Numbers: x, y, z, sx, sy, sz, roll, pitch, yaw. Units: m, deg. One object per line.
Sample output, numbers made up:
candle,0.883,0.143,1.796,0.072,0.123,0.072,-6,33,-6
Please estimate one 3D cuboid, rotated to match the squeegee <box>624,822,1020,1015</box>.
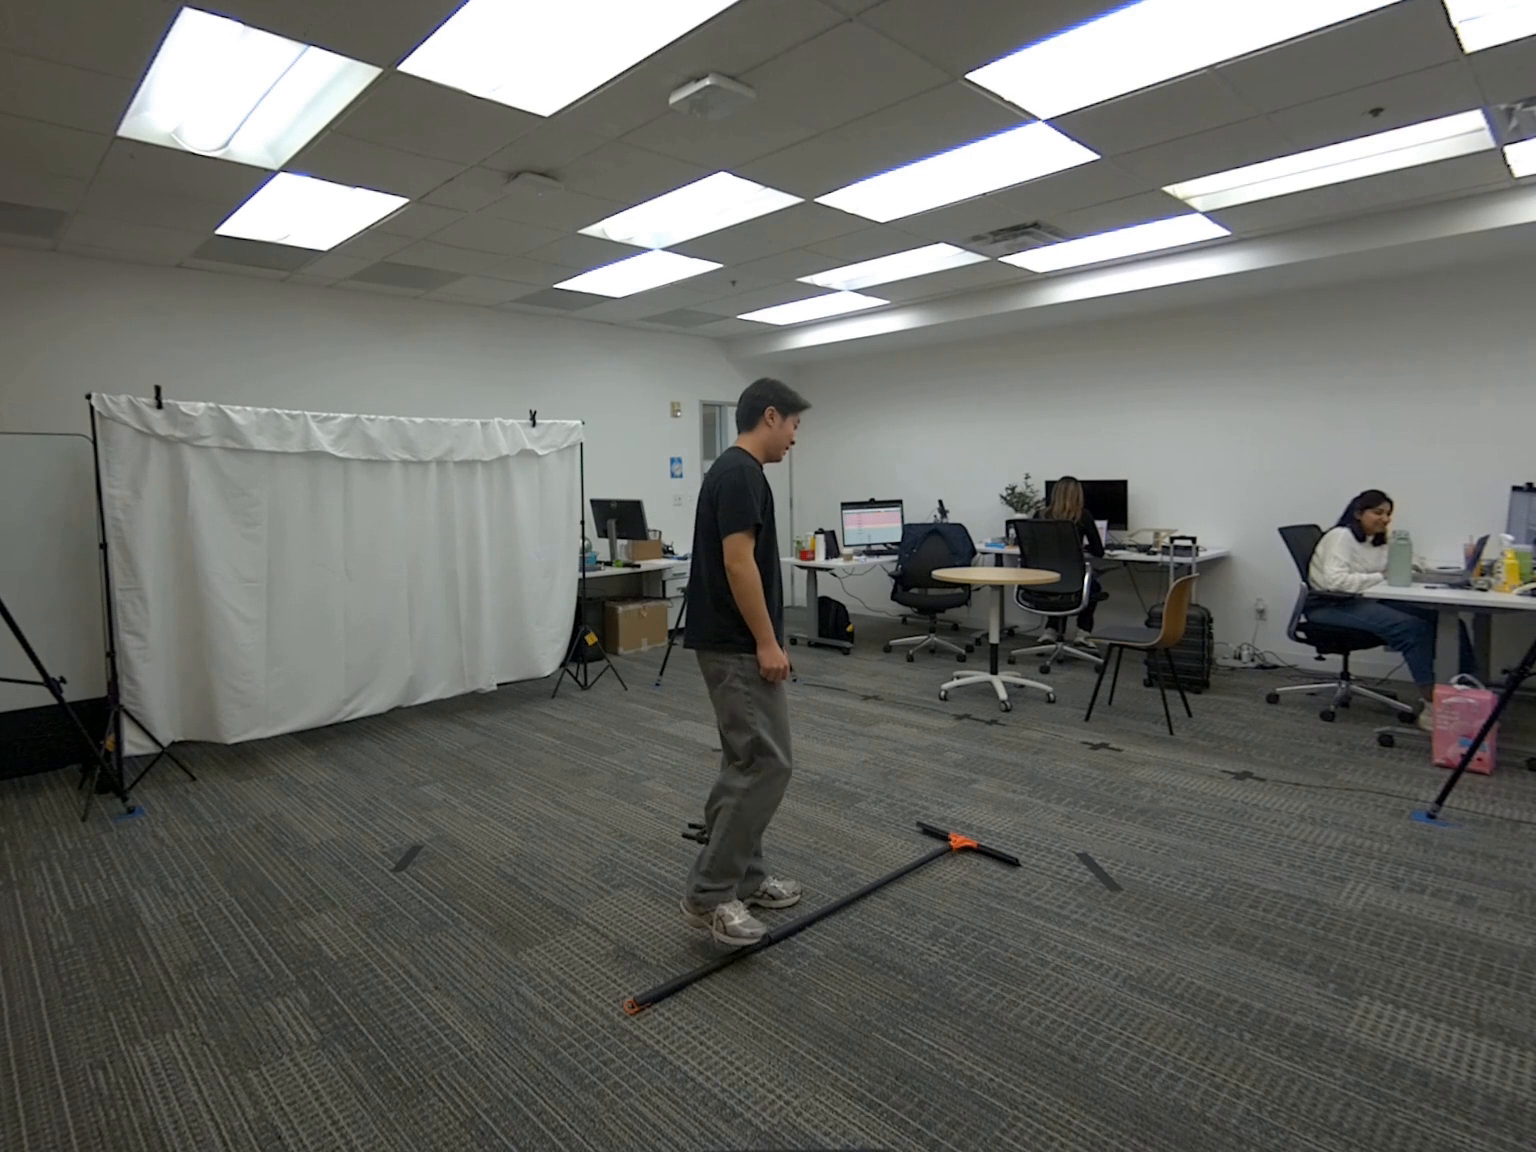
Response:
squeegee,0.197,1.046,2.737,1.499,0.053,0.451,-8,8,-40
